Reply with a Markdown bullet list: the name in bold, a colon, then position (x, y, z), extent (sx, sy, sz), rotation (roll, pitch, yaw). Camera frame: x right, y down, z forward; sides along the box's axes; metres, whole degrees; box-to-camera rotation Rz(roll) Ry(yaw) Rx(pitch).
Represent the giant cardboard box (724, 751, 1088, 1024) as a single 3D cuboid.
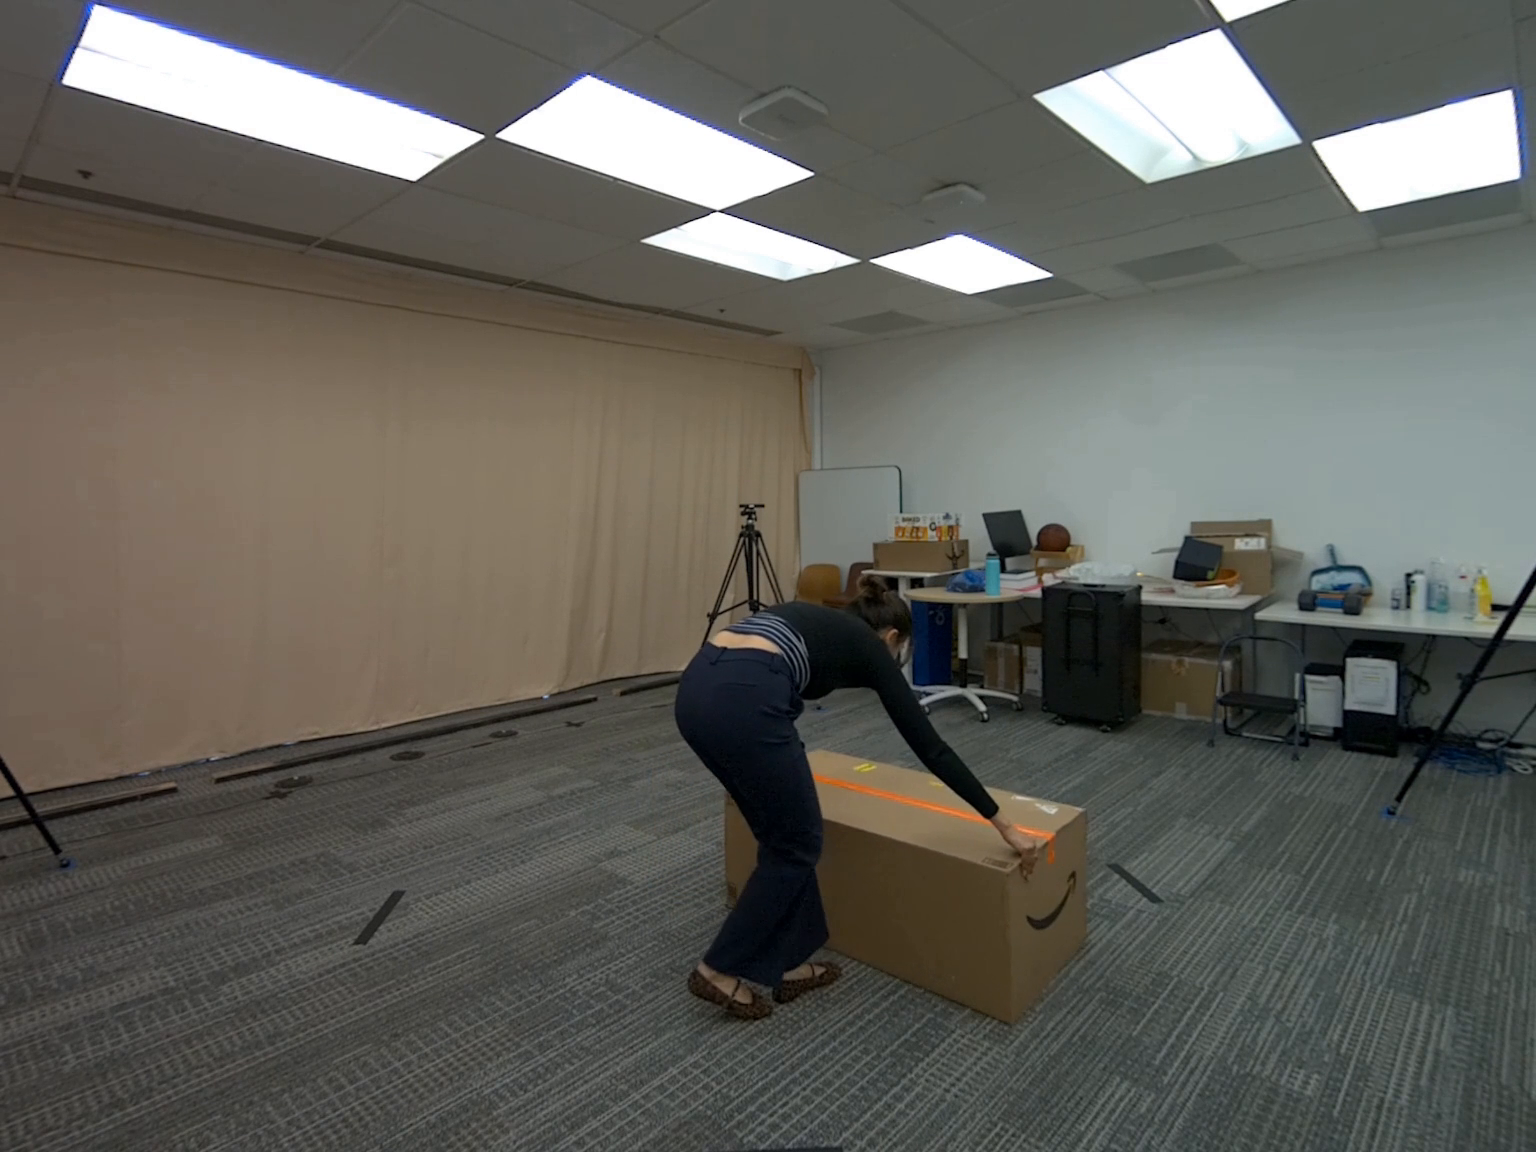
- **giant cardboard box**: position (0.427, 0.936, 2.773), extent (1.060, 0.425, 0.560), rotation (3, 5, 41)
